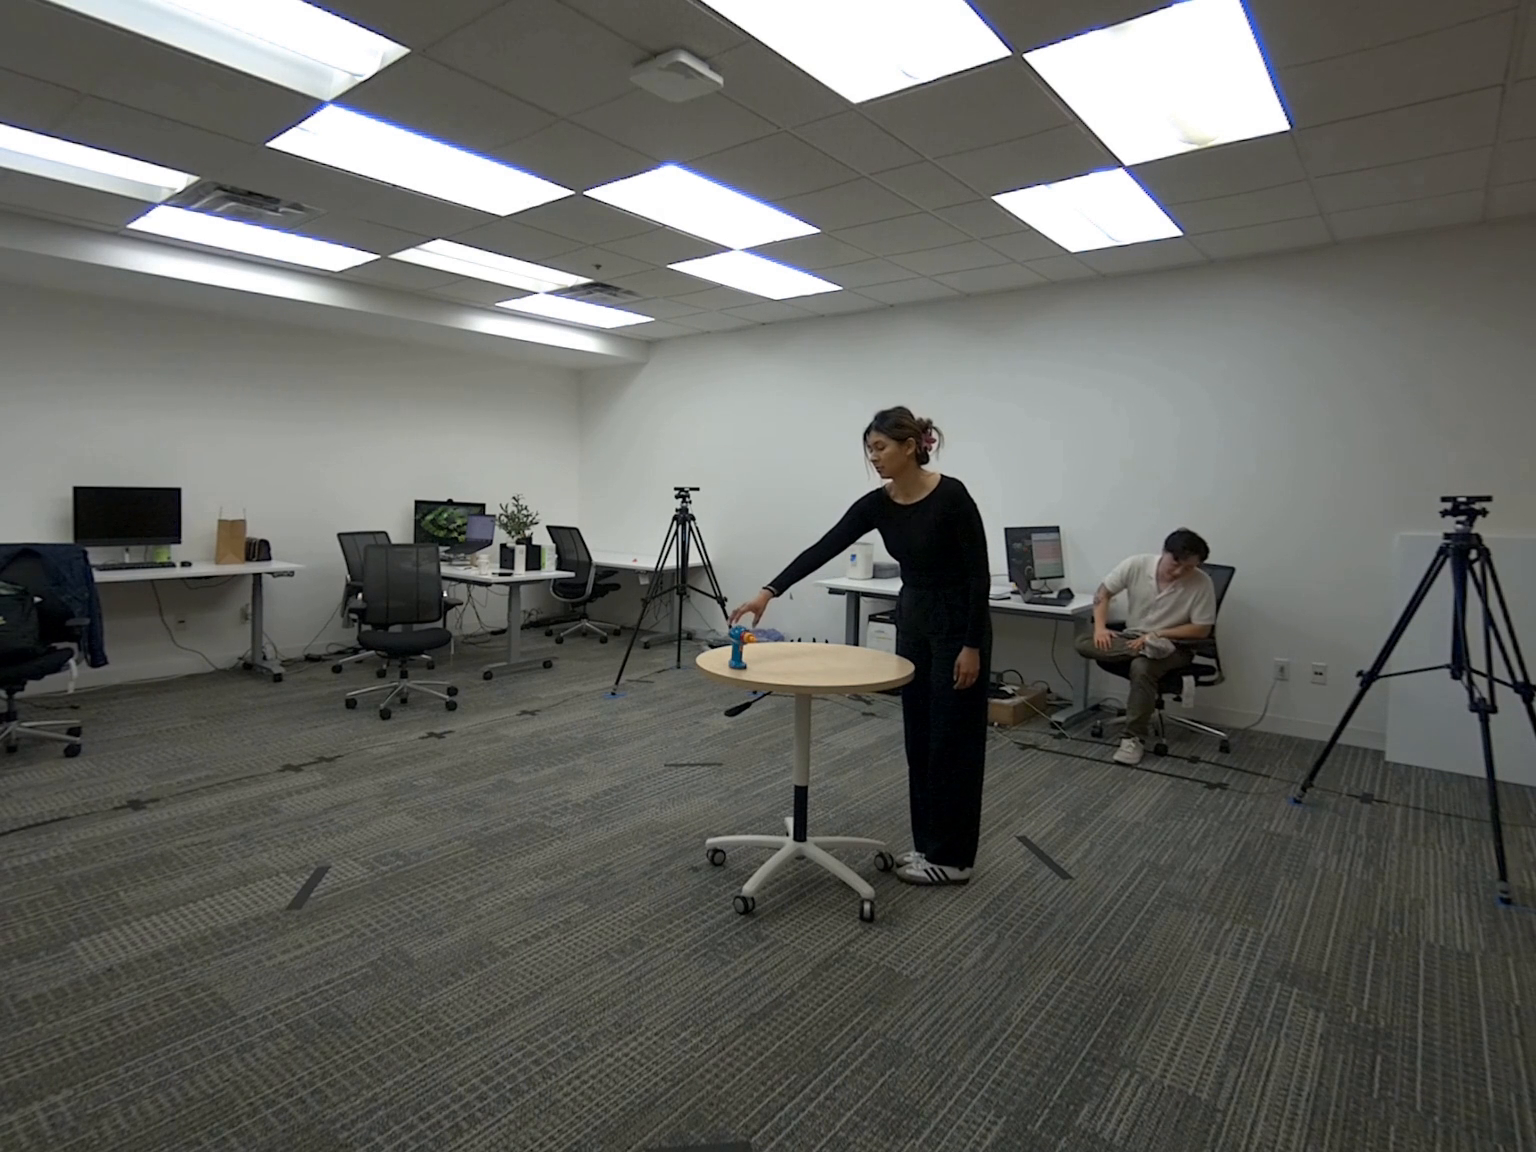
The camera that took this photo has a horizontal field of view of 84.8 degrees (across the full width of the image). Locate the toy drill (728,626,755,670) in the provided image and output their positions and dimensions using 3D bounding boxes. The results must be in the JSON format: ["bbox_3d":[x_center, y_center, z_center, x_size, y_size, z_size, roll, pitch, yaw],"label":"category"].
[{"bbox_3d":[-0.095,0.238,2.846,0.059,0.145,0.175,-3,4,-30],"label":"toy drill"}]
